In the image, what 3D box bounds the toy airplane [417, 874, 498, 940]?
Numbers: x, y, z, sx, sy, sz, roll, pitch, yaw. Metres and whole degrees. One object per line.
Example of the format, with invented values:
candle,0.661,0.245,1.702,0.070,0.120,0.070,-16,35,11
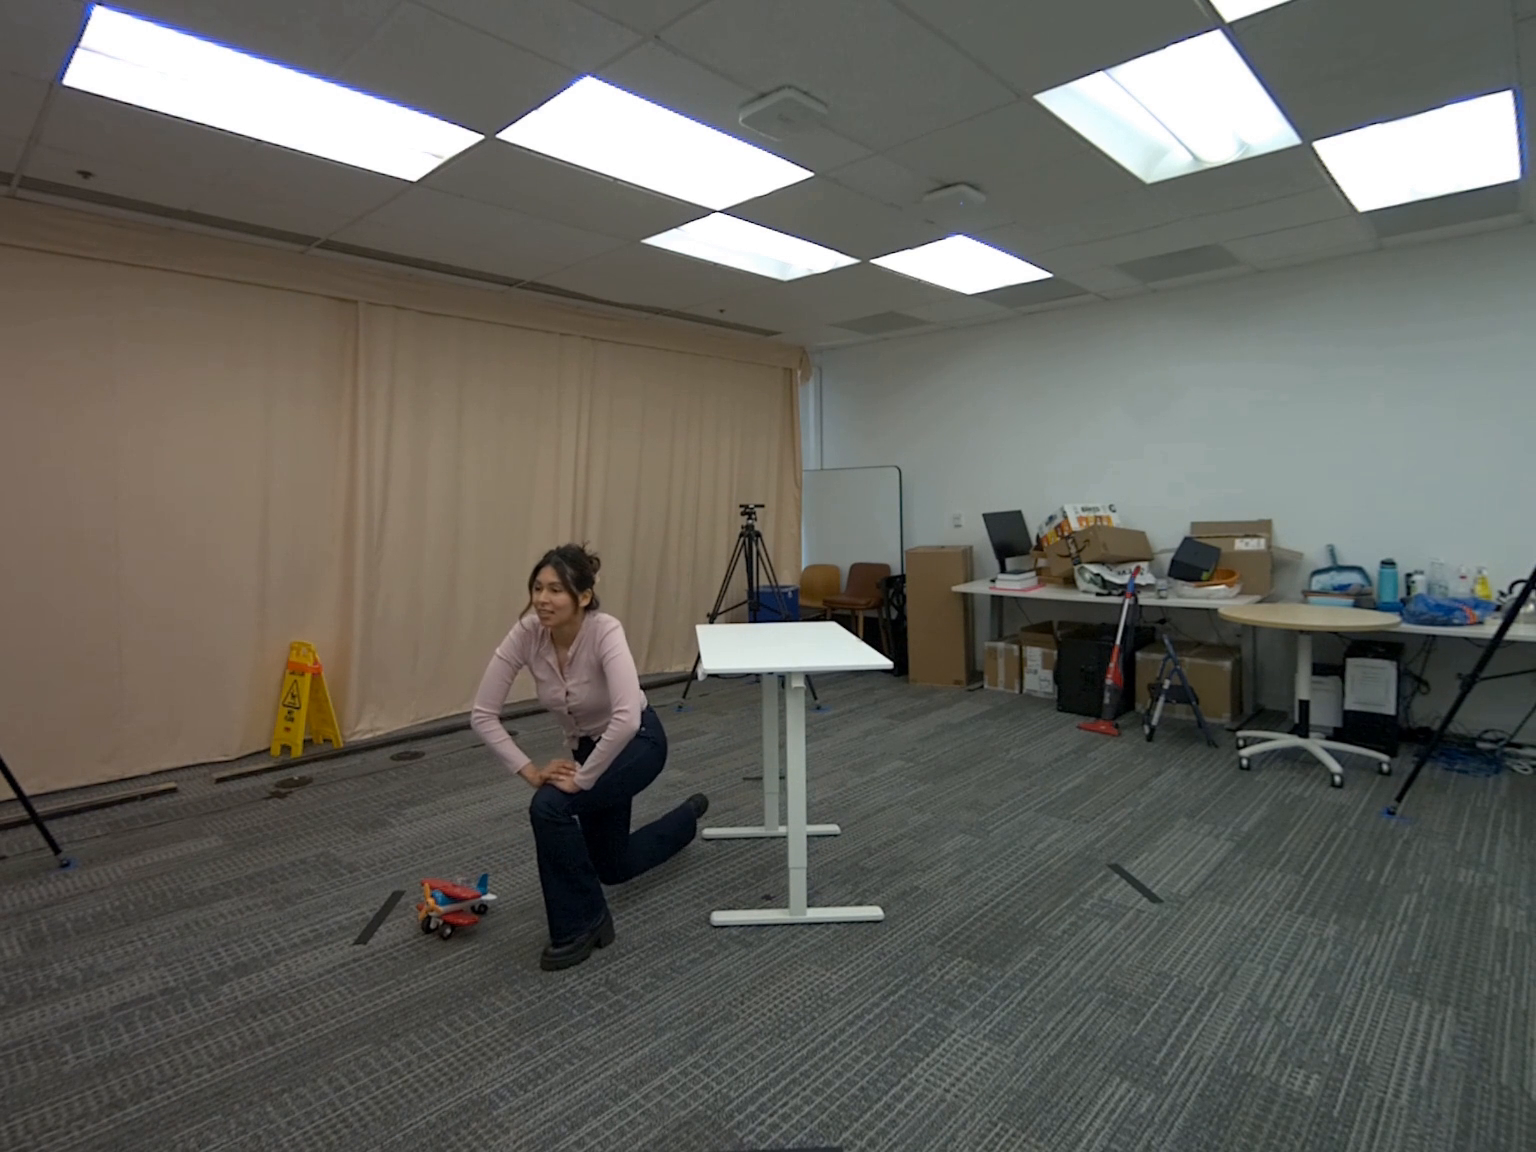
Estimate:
toy airplane,-1.089,1.117,2.831,0.252,0.156,0.259,-3,6,2
